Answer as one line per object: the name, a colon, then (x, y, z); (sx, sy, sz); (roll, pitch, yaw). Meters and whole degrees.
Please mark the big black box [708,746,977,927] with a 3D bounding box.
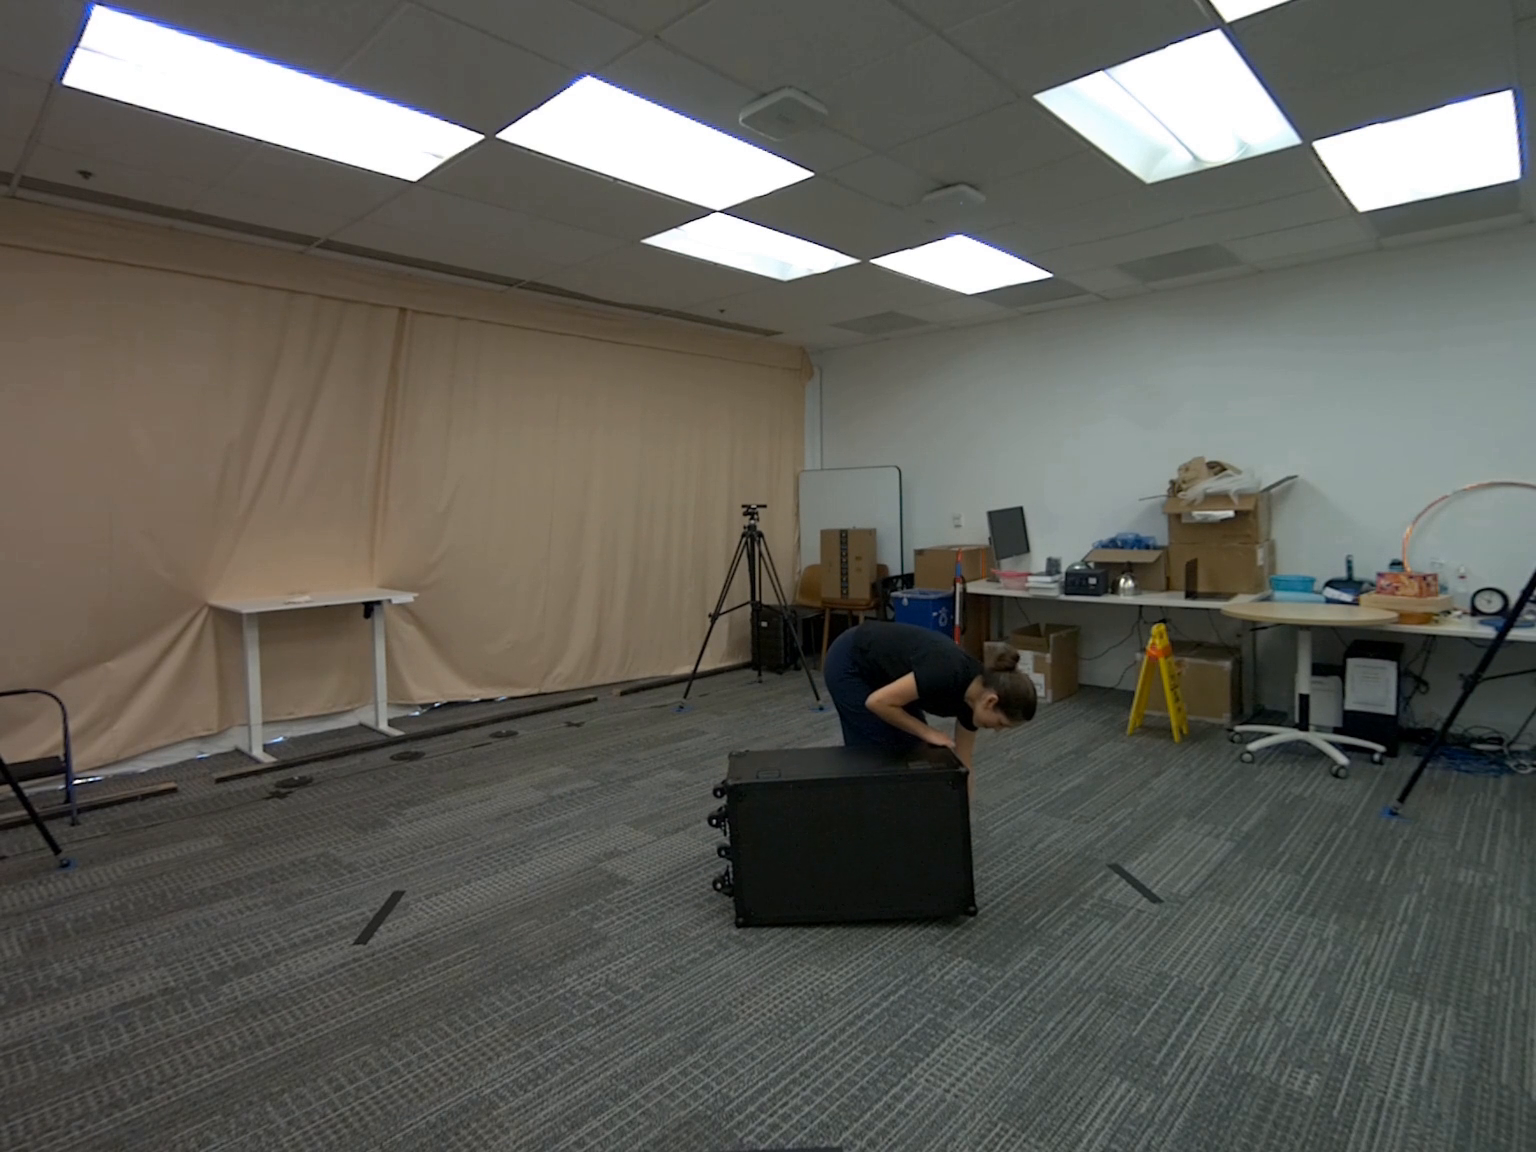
big black box: (0.244, 0.867, 2.921); (0.864, 0.520, 0.396); (-3, 3, 2)
